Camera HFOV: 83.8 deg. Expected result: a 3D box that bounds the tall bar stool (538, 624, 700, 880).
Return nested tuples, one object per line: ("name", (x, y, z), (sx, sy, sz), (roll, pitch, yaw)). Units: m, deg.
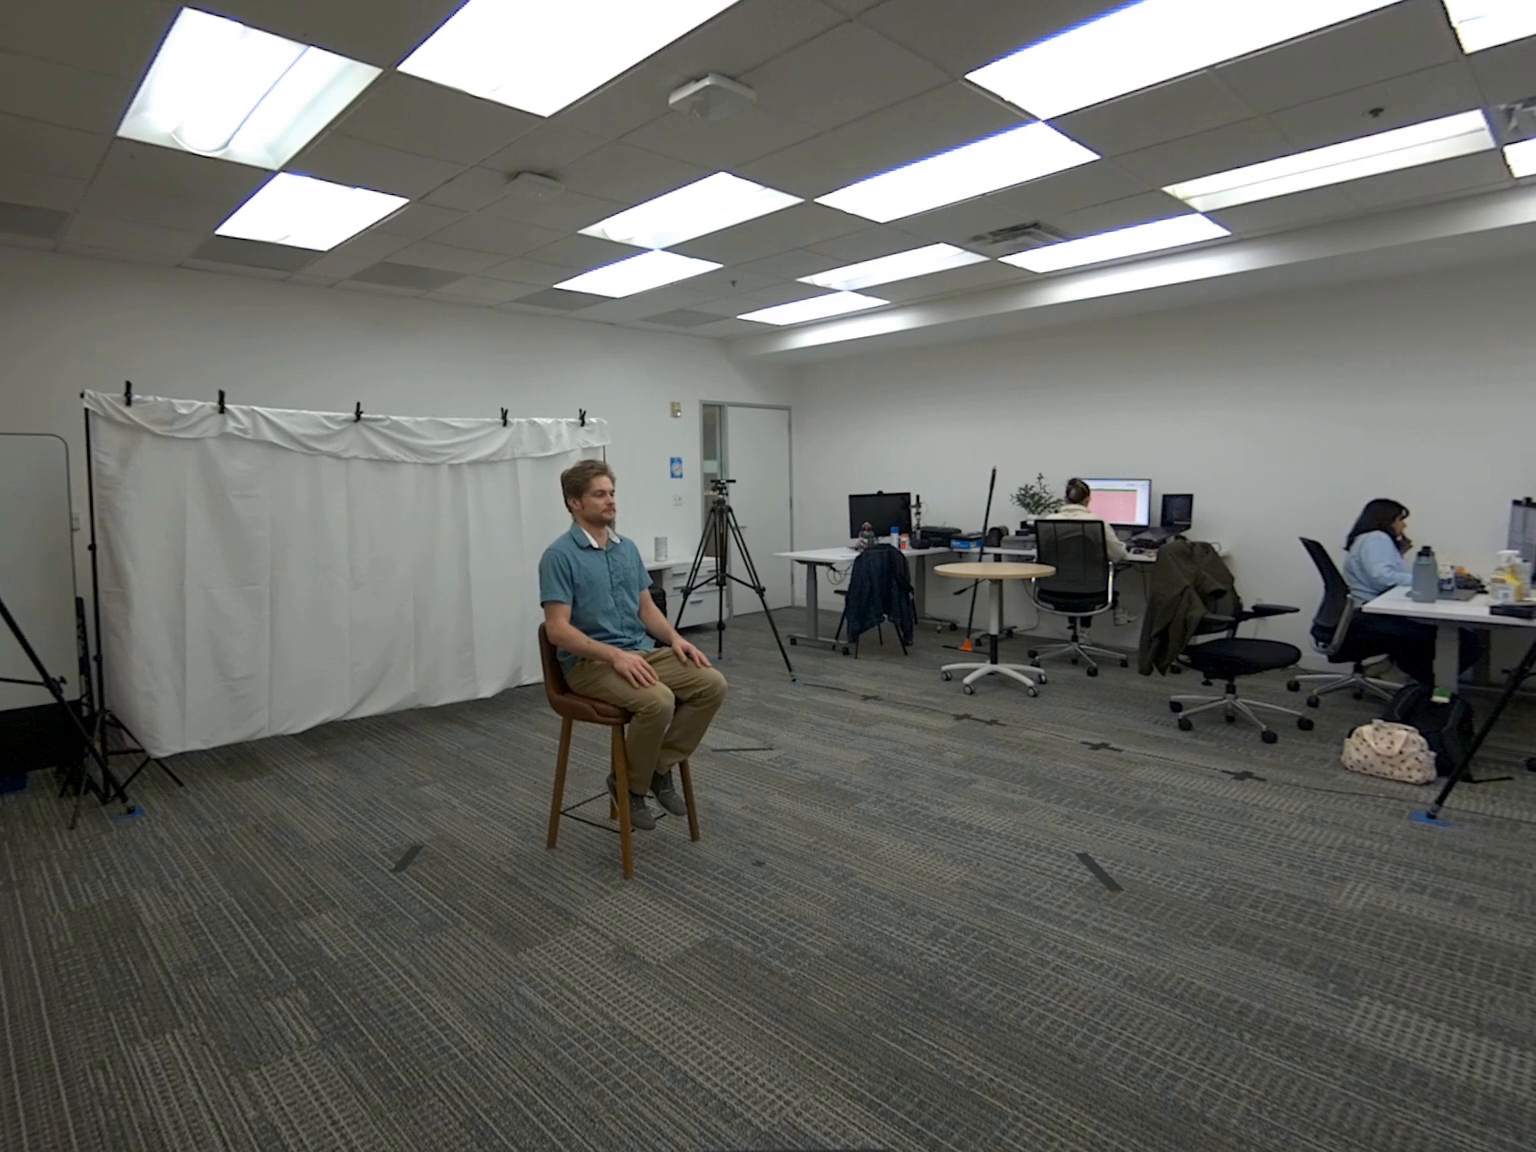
("tall bar stool", (-0.579, 0.600, 3.284), (0.480, 0.888, 0.445), (-1, 2, 36))
